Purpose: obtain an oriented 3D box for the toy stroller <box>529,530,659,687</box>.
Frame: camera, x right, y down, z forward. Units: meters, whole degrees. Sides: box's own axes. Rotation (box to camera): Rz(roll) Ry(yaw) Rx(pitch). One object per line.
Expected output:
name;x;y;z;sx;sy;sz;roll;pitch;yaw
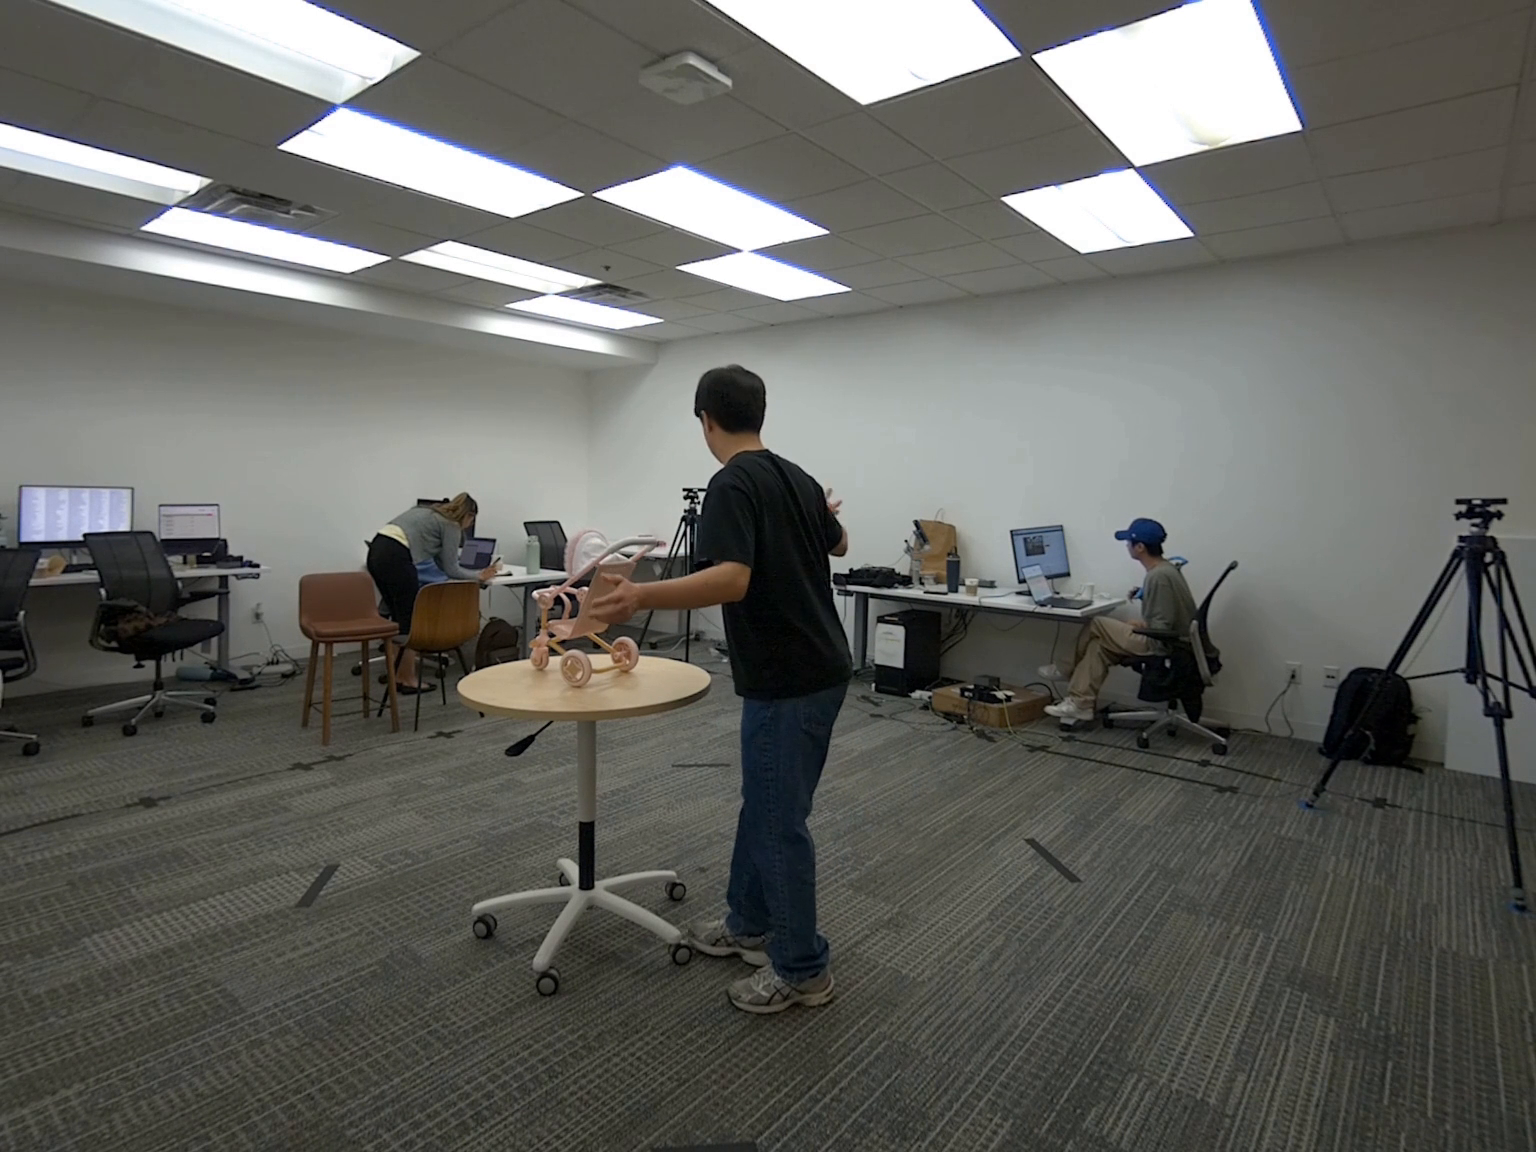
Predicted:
toy stroller;-0.586;0.088;2.648;0.353;0.531;0.274;19;12;30
